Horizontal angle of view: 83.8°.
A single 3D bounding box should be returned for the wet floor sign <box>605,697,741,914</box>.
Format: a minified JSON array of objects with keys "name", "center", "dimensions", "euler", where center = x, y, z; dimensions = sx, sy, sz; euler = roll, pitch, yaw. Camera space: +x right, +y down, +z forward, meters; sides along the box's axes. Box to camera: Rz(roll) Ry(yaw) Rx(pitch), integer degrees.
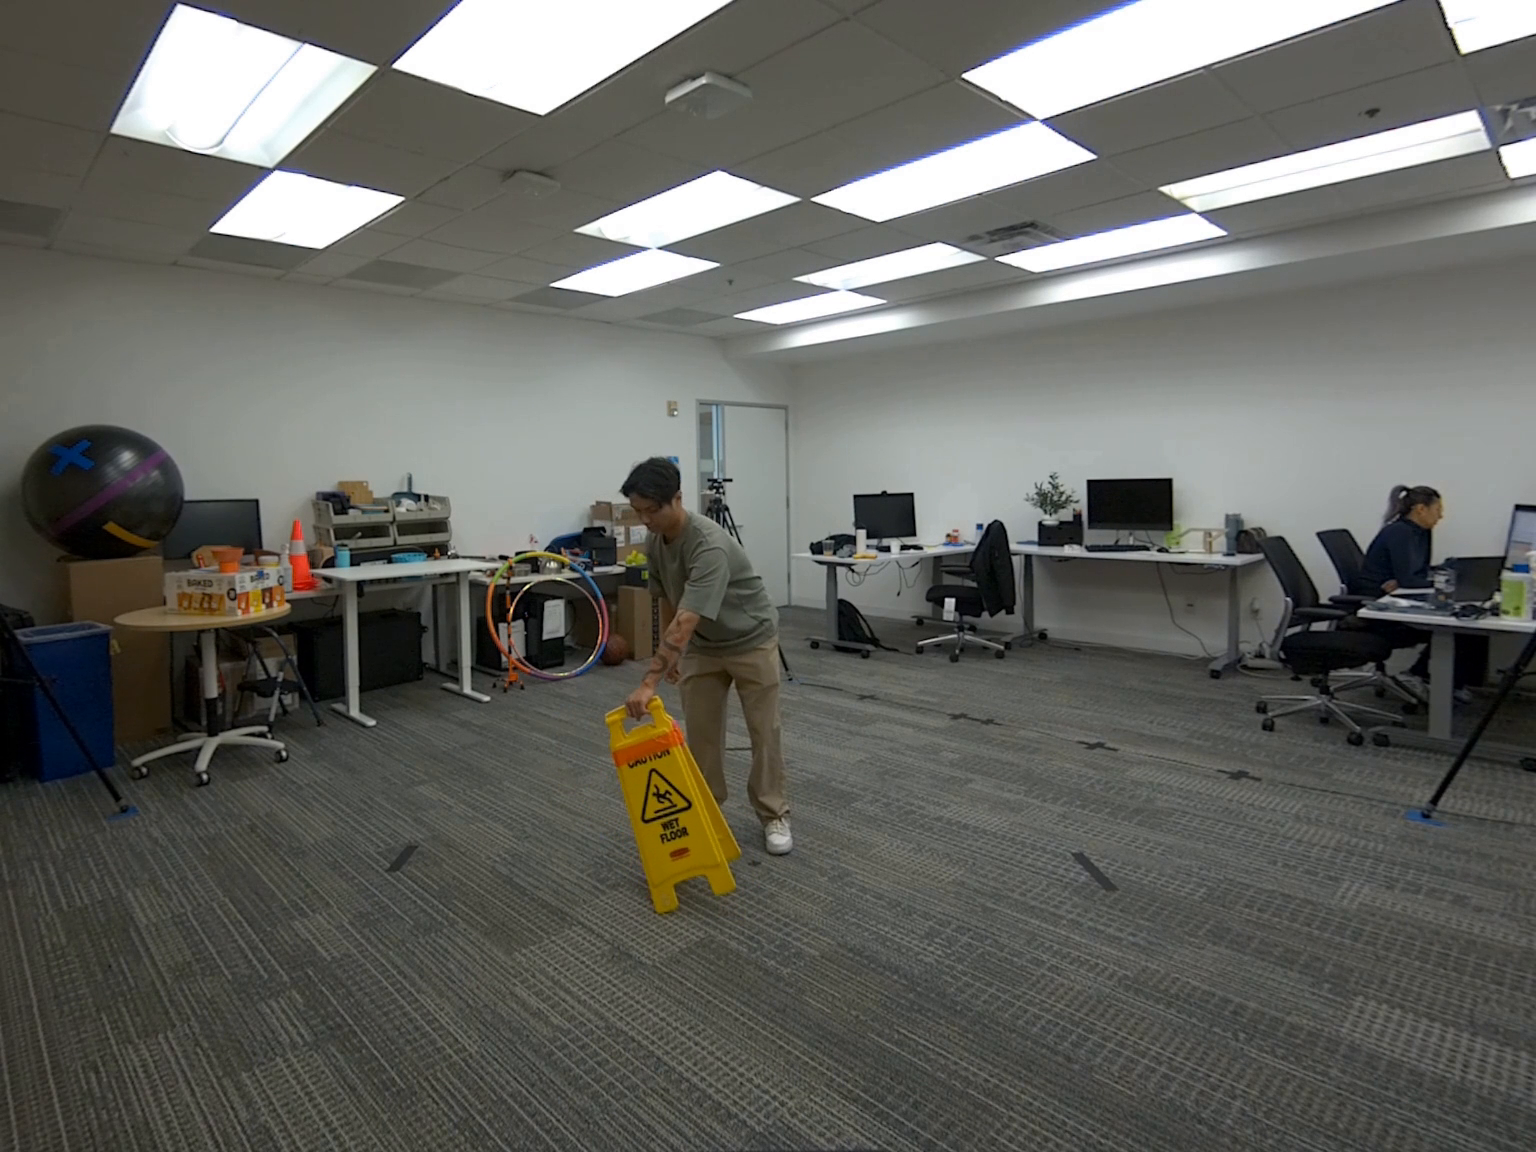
[{"name":"wet floor sign","center":[-0.341,0.738,2.844],"dimensions":[0.283,0.644,0.289],"euler":[-20,3,7]}]
